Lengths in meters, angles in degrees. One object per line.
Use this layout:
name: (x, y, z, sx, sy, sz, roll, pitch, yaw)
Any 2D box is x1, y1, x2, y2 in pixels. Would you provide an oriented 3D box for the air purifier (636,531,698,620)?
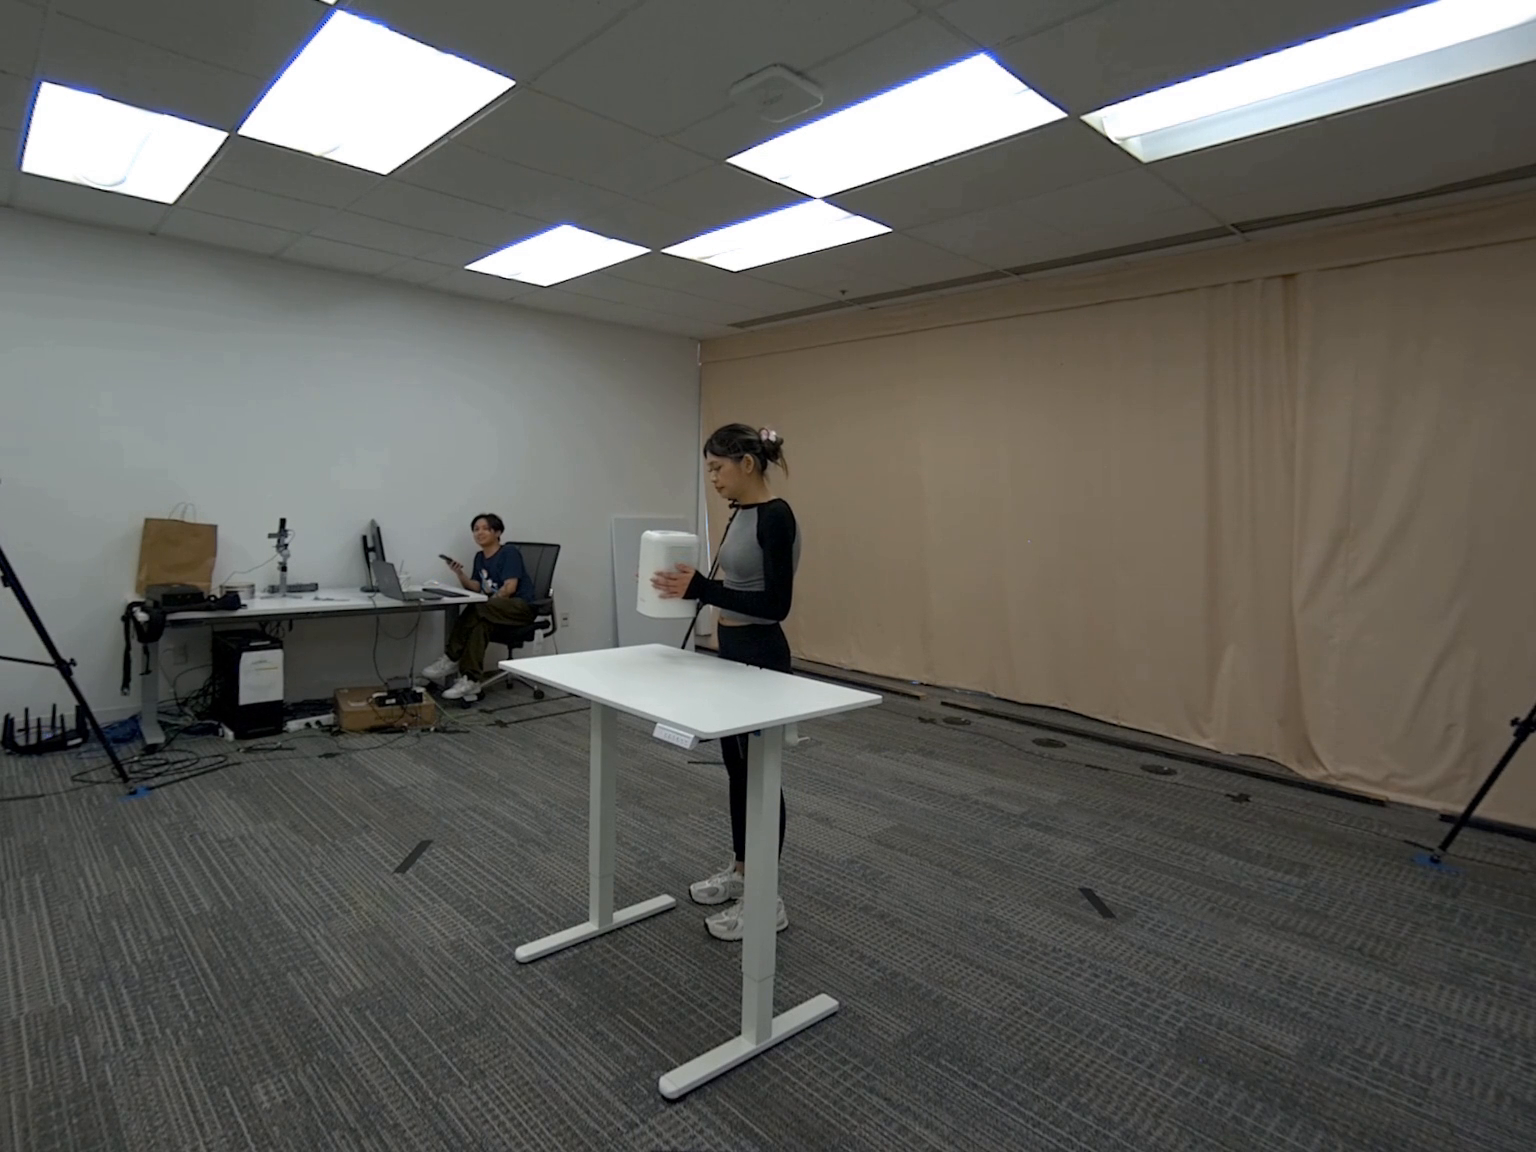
air purifier: (-0.313, -0.007, 2.687, 0.168, 0.264, 0.175, 1, 5, -30)
